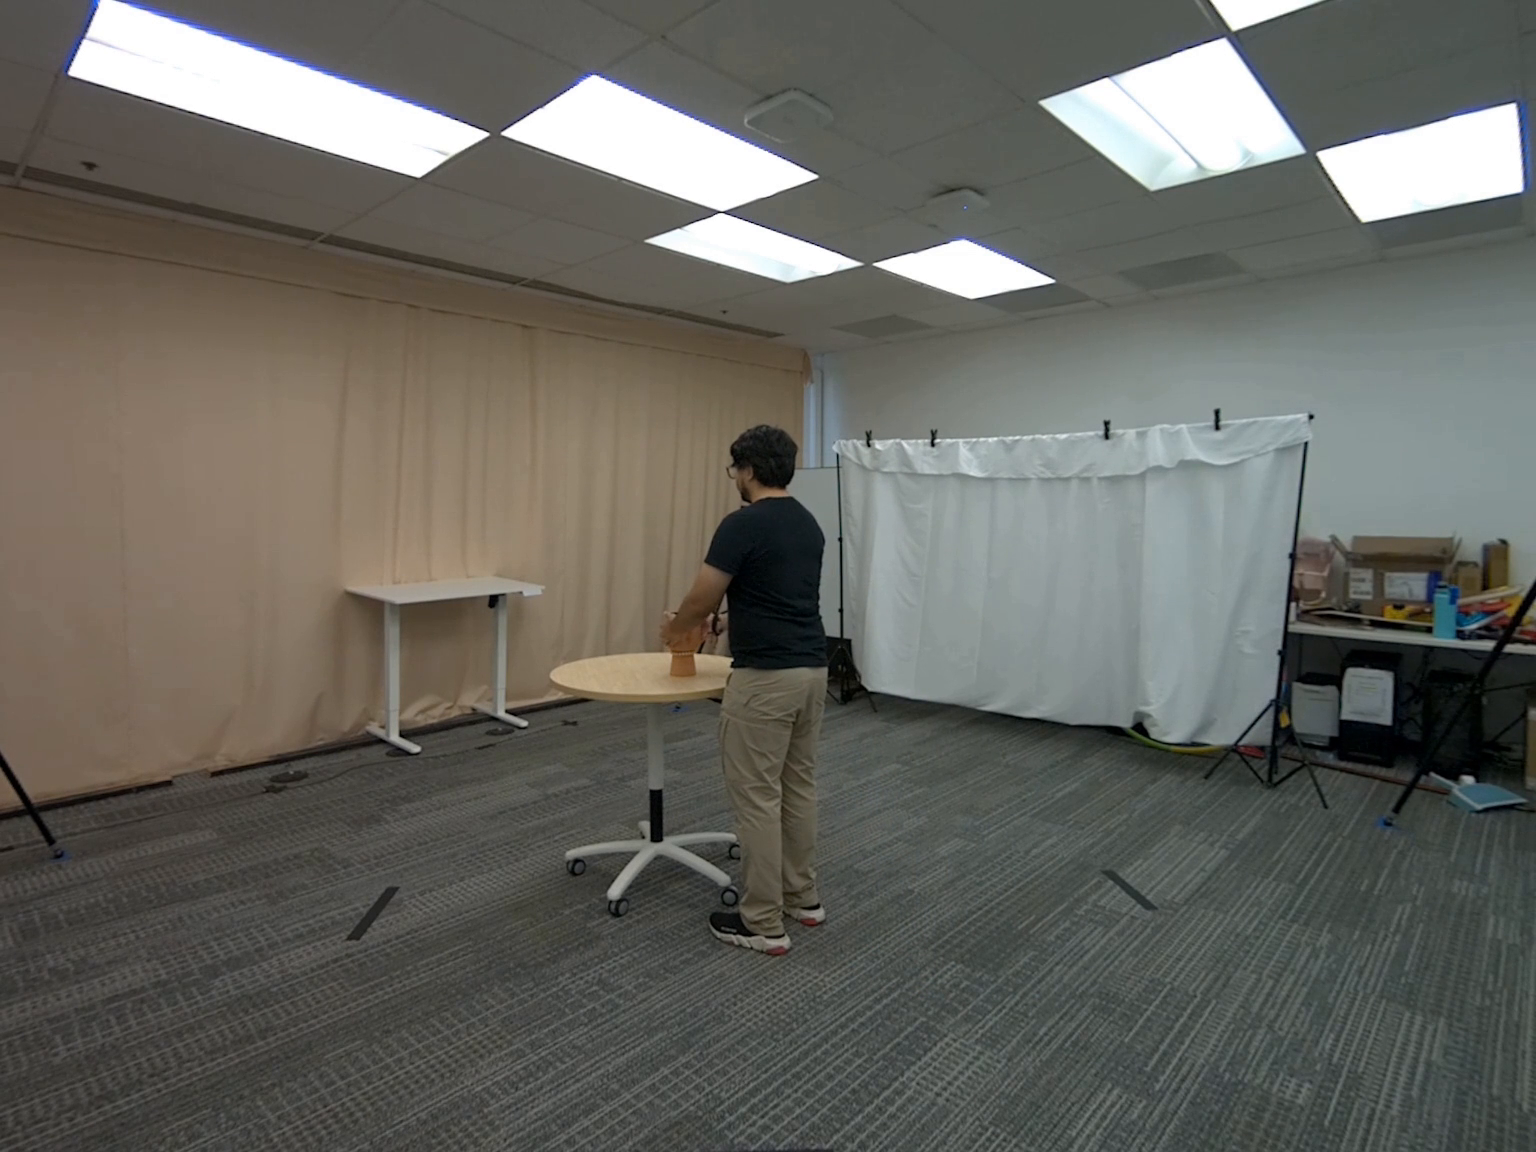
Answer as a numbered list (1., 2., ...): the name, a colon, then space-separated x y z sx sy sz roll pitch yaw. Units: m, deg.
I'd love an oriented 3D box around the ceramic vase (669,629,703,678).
1. ceramic vase: -0.307 0.251 3.065 0.137 0.219 0.156 3 5 19
